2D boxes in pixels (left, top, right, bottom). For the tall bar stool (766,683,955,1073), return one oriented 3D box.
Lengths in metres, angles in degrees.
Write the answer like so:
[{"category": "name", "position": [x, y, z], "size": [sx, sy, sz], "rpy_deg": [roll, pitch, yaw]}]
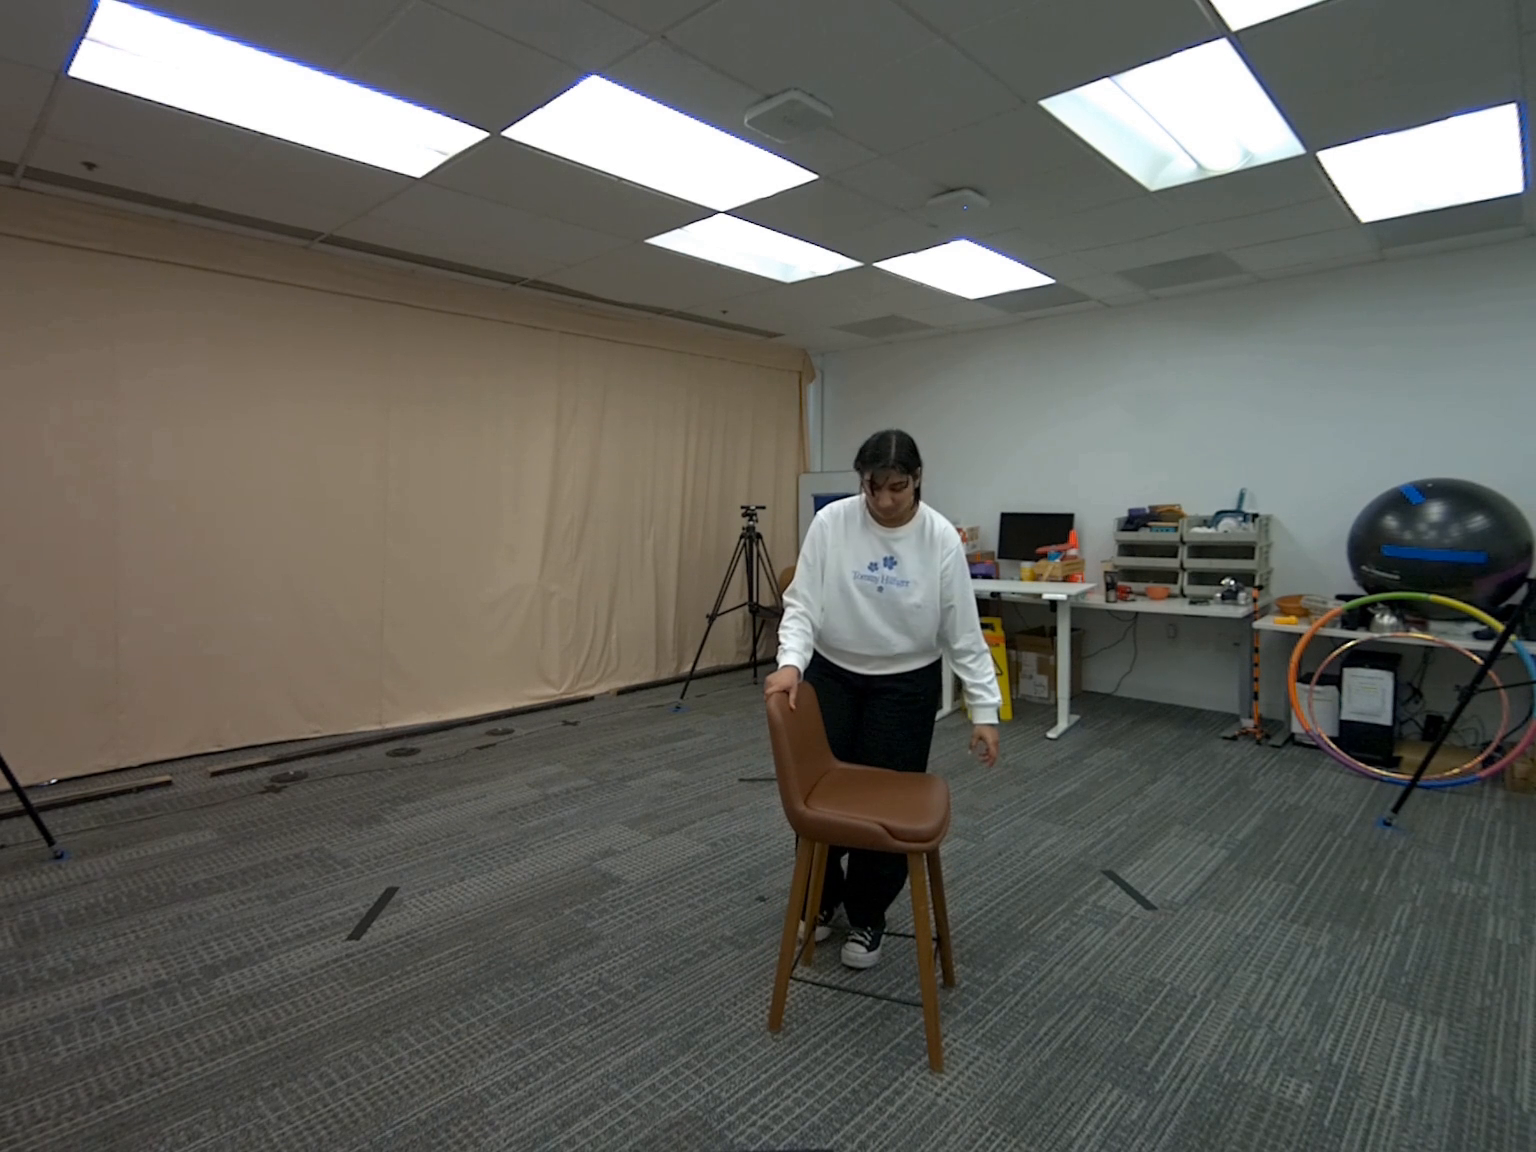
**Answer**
[{"category": "tall bar stool", "position": [0.262, 0.758, 2.312], "size": [0.477, 0.888, 0.448], "rpy_deg": [-1, 3, 19]}]
